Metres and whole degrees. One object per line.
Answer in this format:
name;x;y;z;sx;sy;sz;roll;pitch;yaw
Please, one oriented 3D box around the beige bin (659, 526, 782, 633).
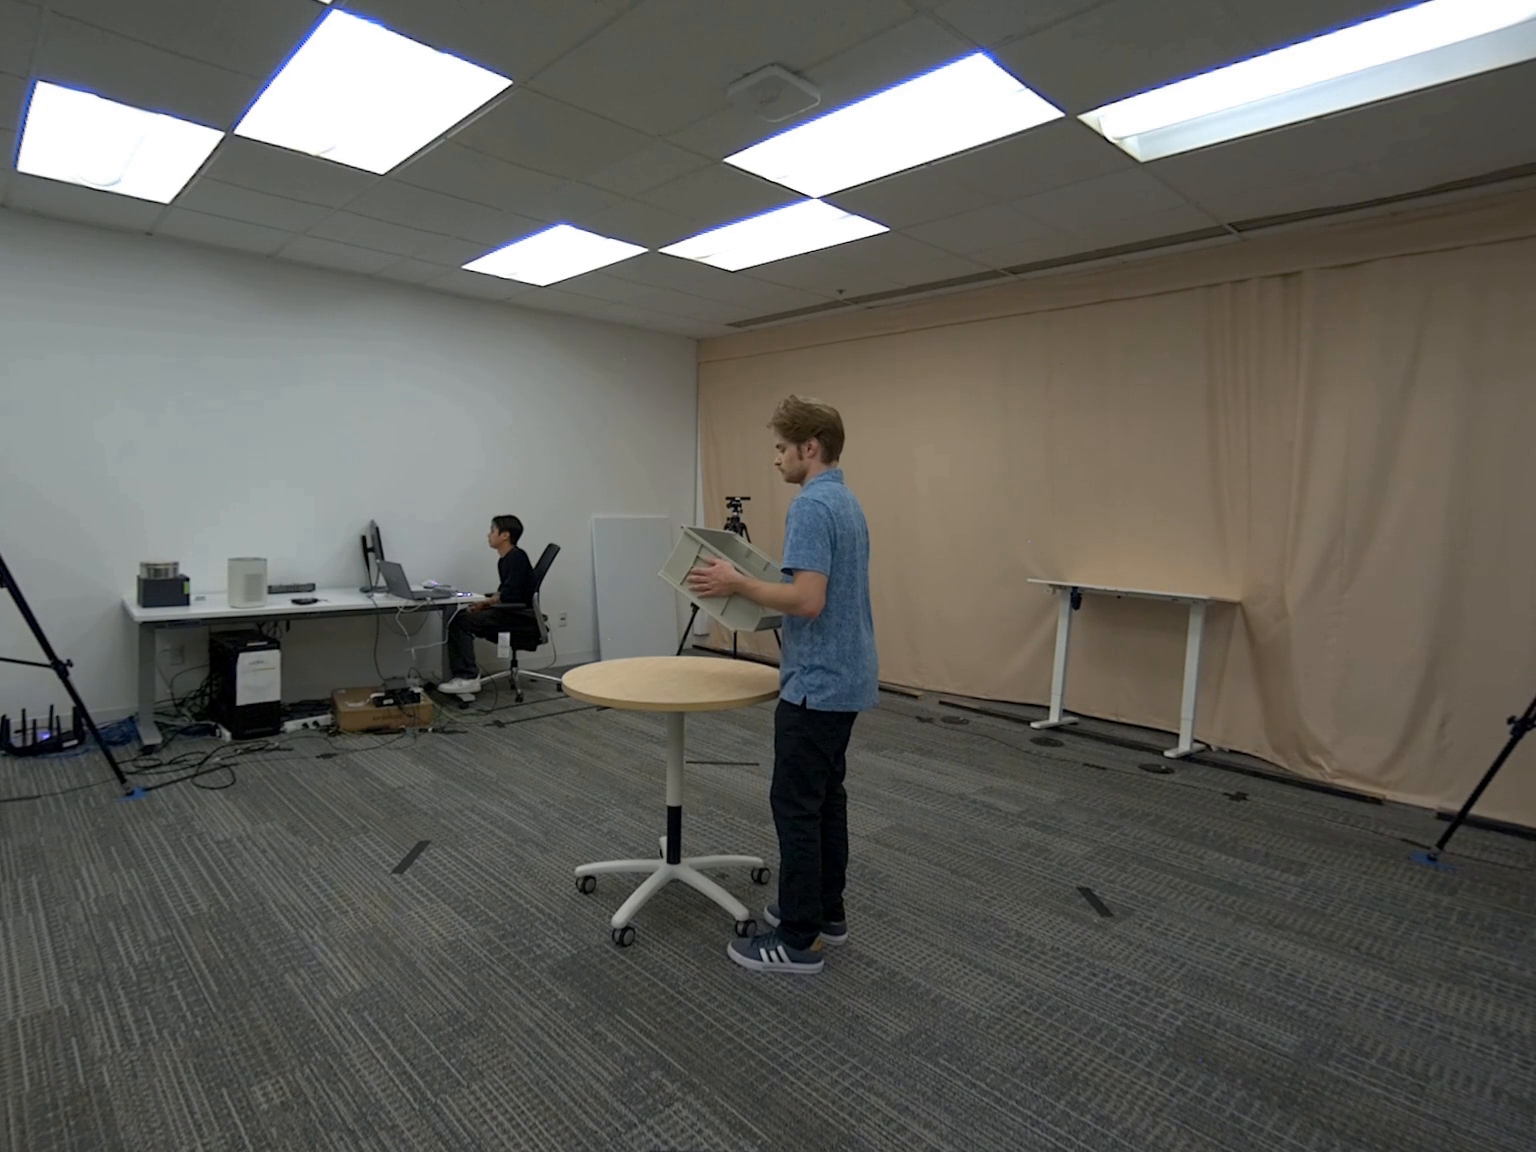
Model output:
beige bin;-0.099;0.026;2.757;0.385;0.188;0.415;34;11;18
